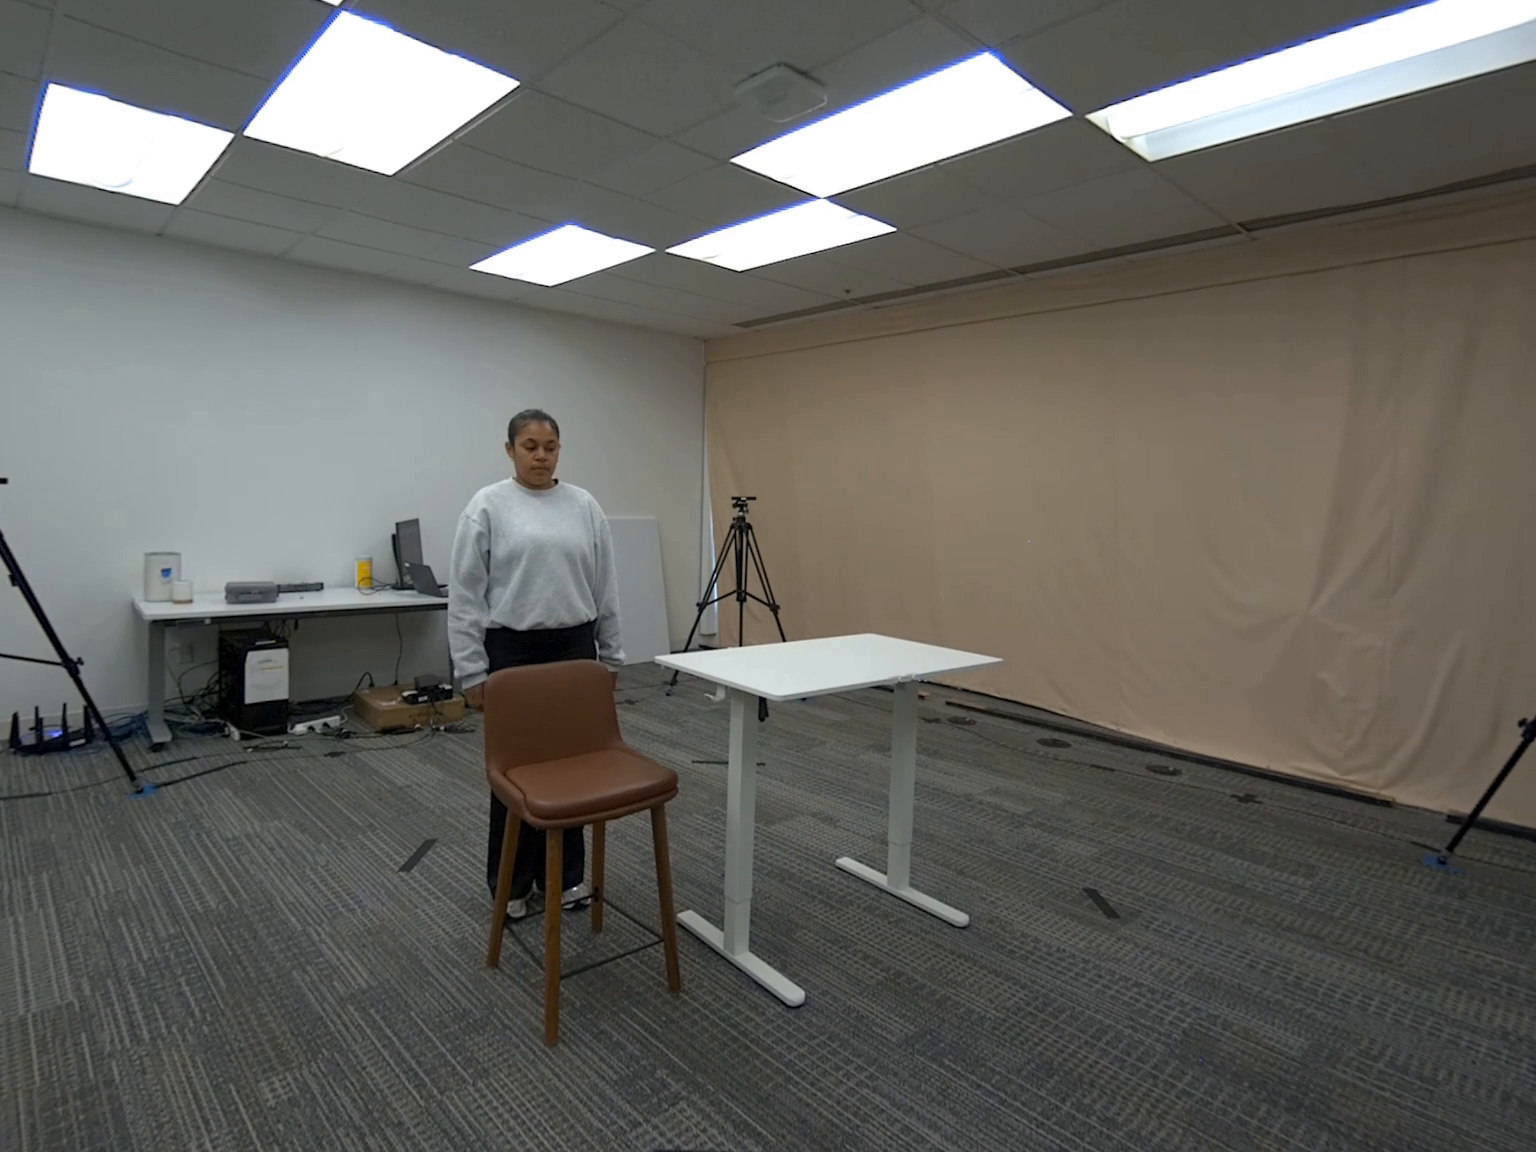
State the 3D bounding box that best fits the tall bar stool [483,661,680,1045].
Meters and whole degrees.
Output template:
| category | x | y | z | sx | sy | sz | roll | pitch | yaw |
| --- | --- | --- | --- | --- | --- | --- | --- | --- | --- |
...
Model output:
| category | x | y | z | sx | sy | sz | roll | pitch | yaw |
| --- | --- | --- | --- | --- | --- | --- | --- | --- | --- |
| tall bar stool | -0.546 | 0.729 | 2.393 | 0.446 | 0.888 | 0.479 | -2 | 3 | -40 |
